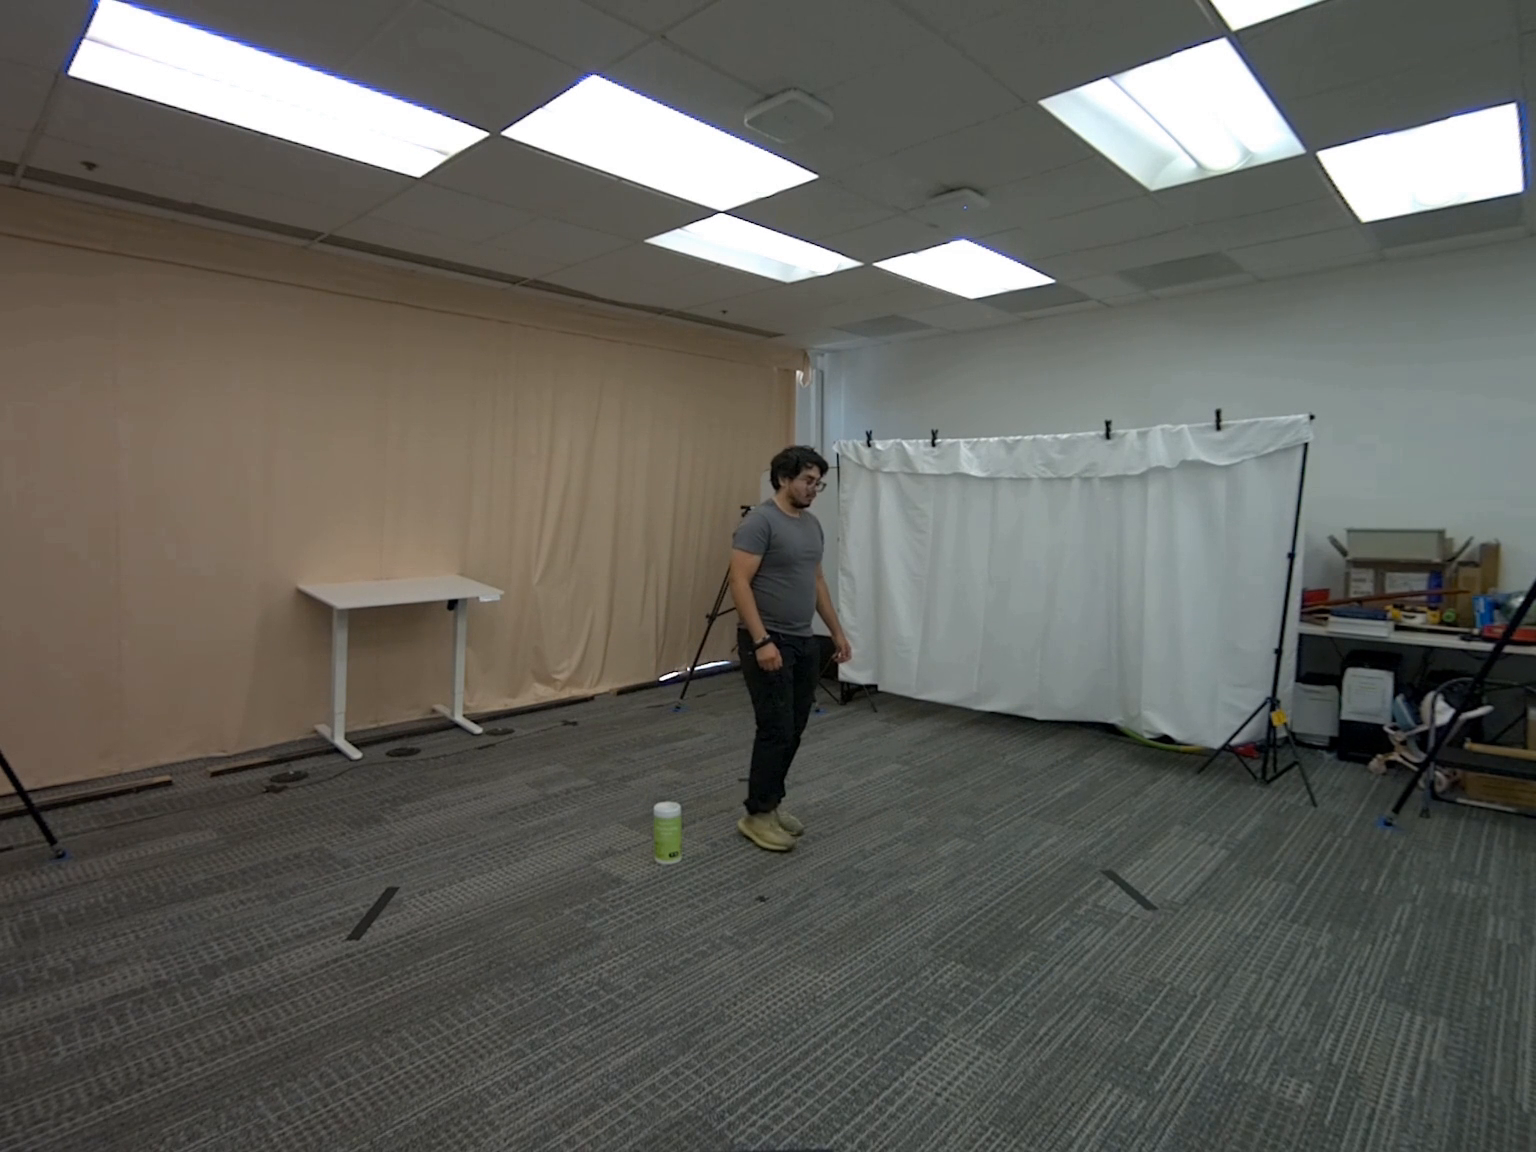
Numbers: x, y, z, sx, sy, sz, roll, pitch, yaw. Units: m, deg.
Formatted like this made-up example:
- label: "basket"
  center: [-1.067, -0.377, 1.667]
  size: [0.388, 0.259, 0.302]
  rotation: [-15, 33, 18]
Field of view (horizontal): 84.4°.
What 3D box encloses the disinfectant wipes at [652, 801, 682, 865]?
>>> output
- label: "disinfectant wipes"
  center: [-0.397, 1.013, 3.312]
  size: [0.117, 0.217, 0.118]
  rotation: [3, 3, -2]
